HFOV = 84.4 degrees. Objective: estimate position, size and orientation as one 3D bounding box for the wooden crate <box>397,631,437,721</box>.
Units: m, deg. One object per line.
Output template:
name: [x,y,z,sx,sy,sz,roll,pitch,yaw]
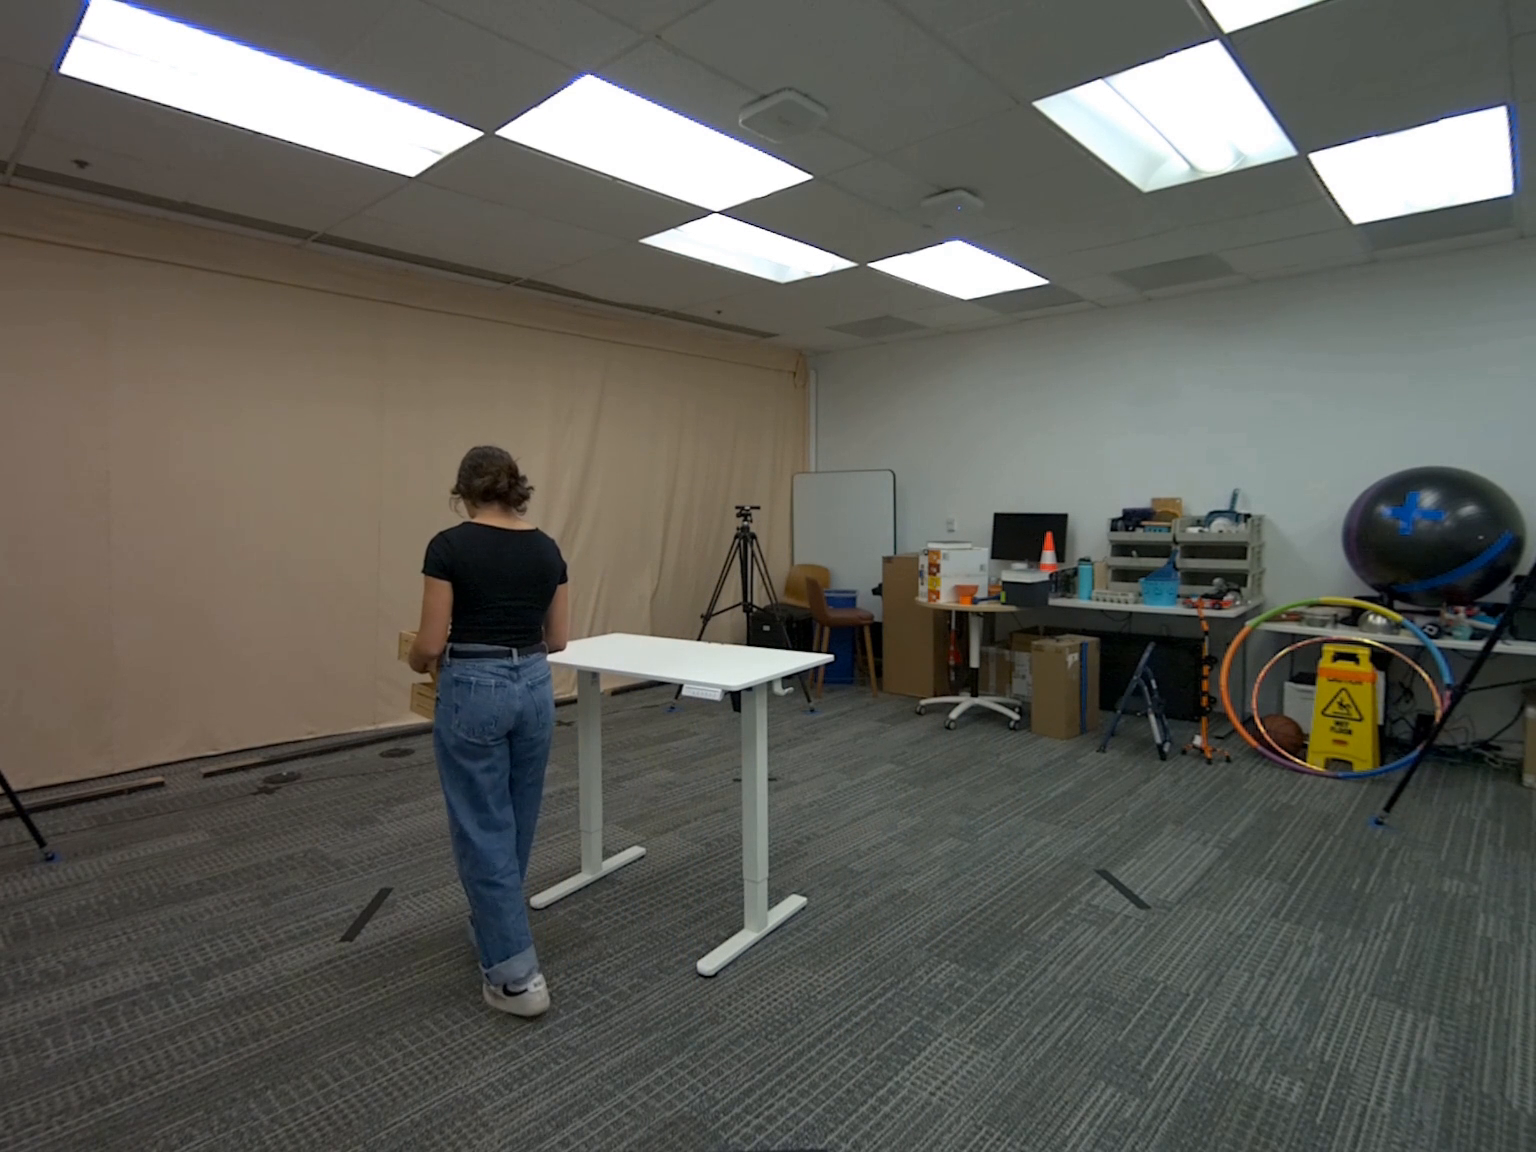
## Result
wooden crate: [-0.978,0.318,2.687,0.292,0.273,0.335,3,1,-43]
